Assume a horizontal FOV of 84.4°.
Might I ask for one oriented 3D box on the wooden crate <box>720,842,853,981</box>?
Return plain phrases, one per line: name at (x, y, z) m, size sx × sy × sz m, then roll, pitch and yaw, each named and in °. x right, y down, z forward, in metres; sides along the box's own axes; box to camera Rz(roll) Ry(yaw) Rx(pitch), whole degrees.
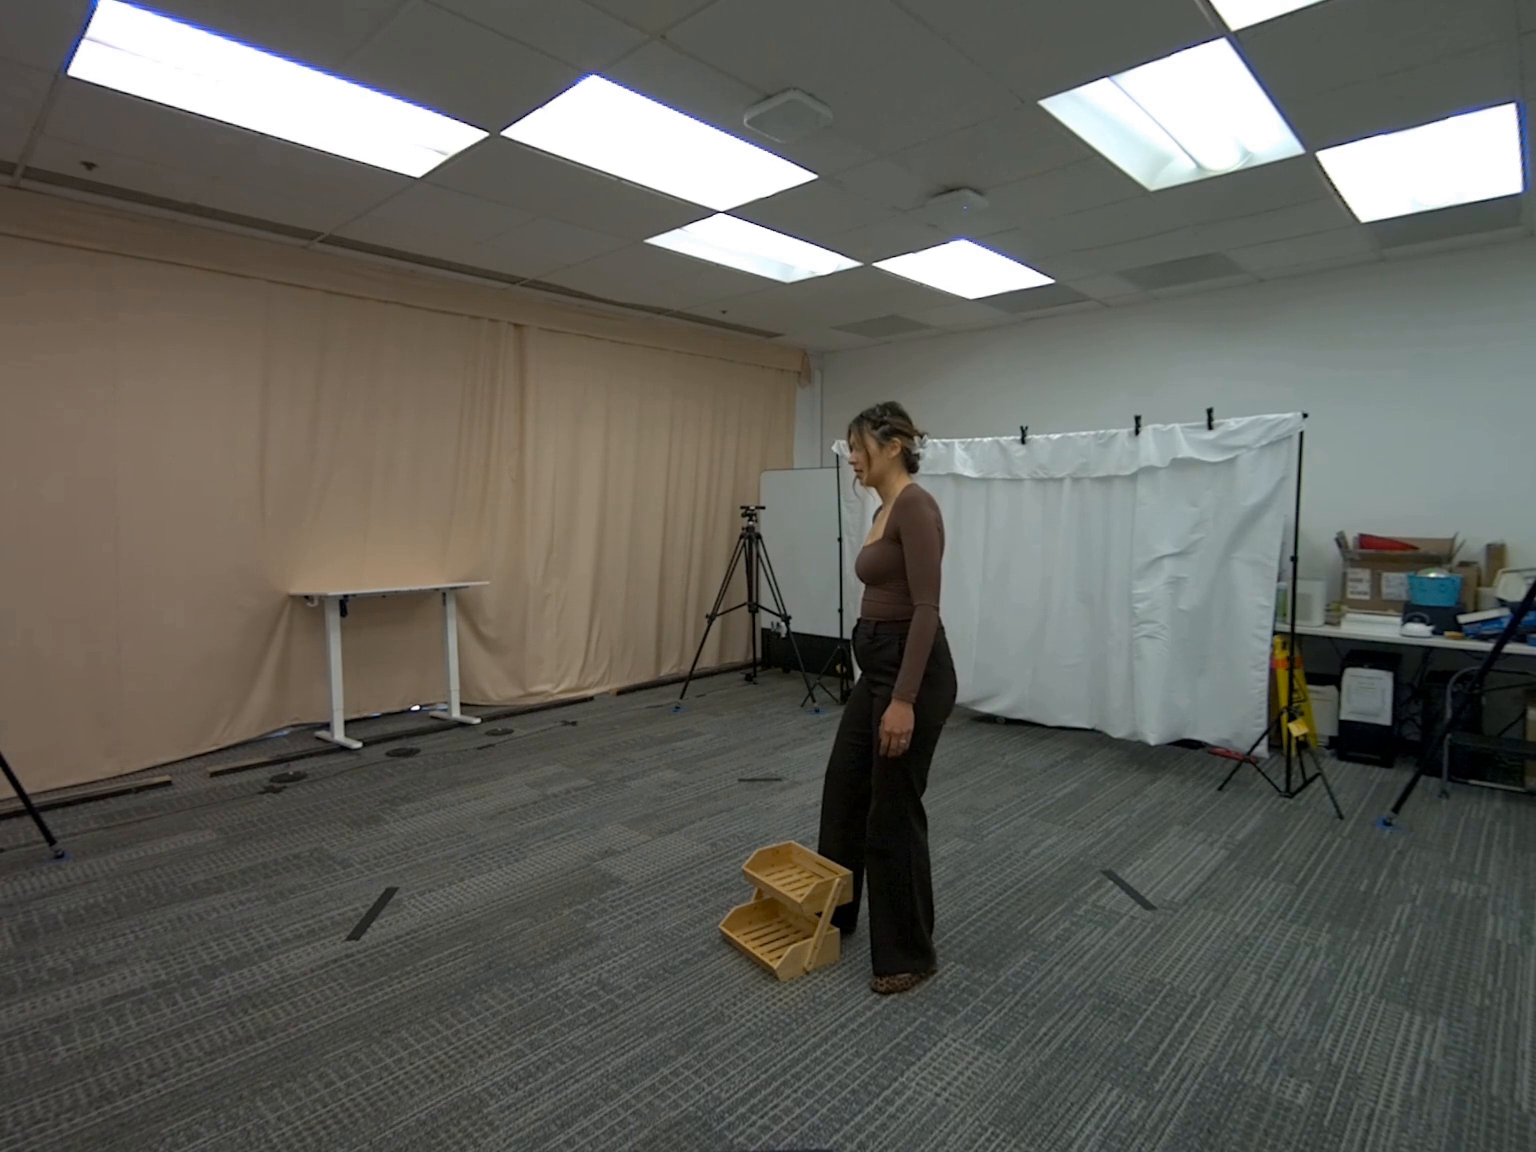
wooden crate at (0.051, 1.041, 2.646) m, size 0.293 × 0.273 × 0.335 m, roll -2°, pitch 4°, yaw -36°
